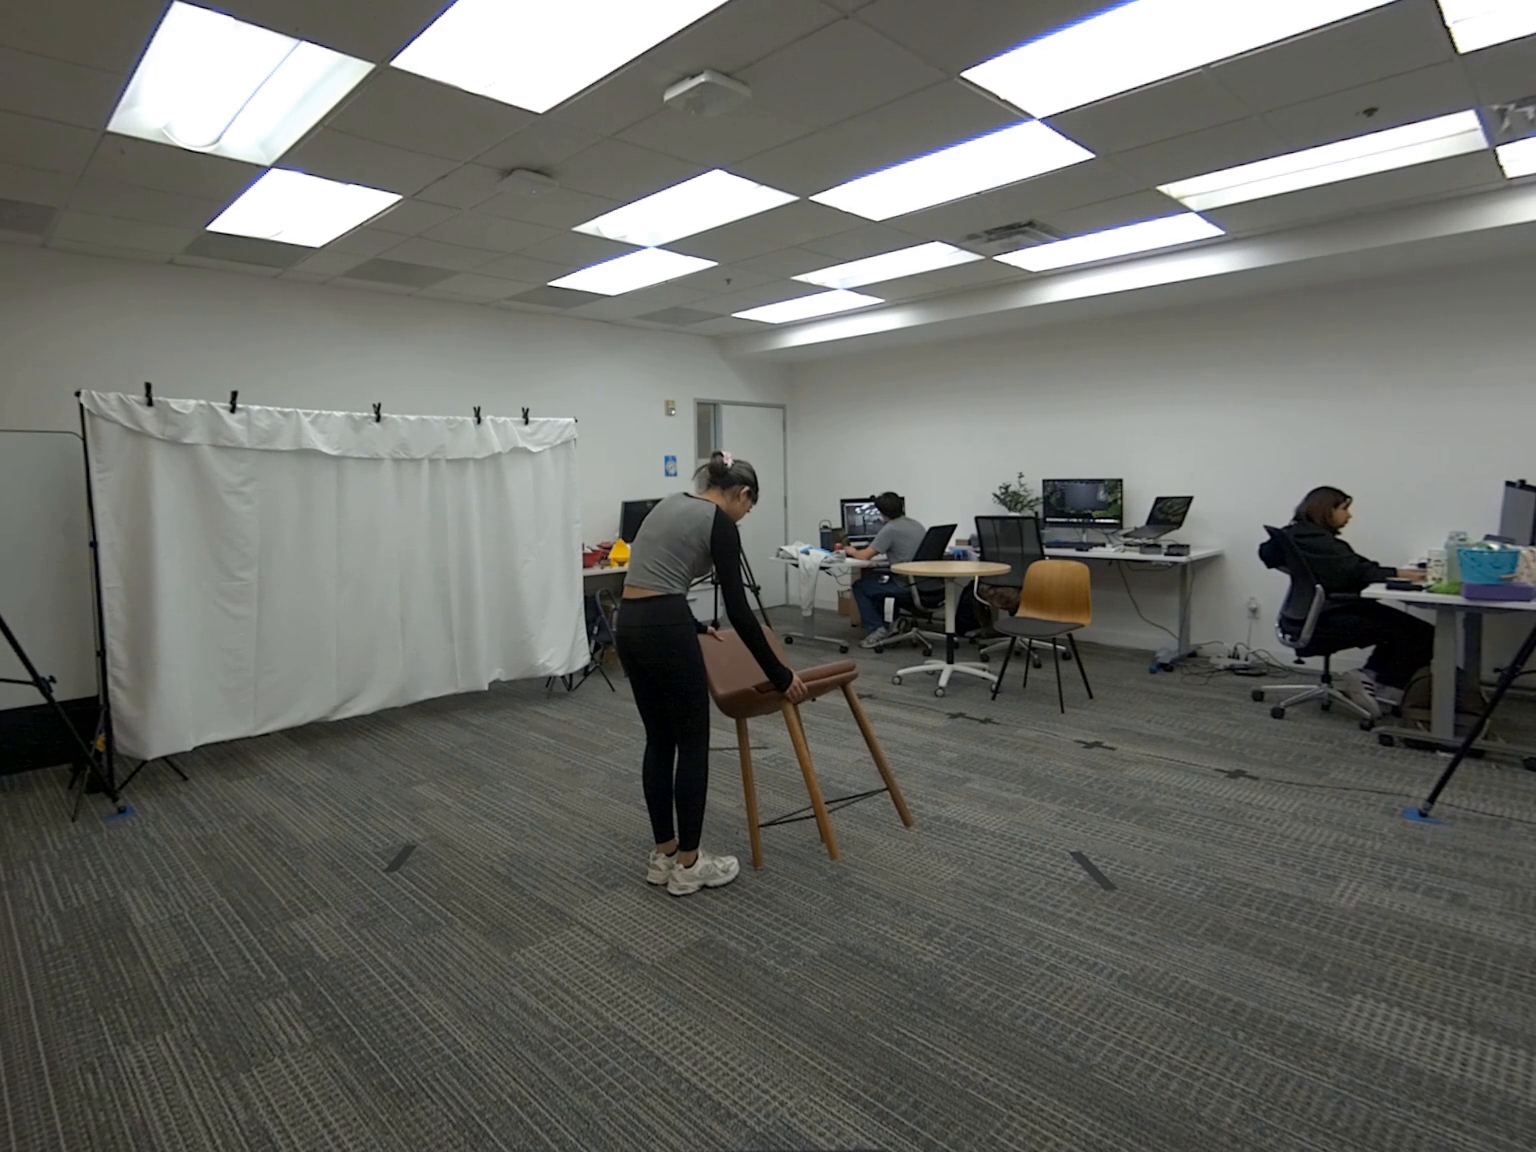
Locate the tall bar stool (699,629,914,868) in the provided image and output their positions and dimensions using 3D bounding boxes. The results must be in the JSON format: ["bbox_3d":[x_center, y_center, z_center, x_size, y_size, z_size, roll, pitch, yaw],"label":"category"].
[{"bbox_3d":[0.102,0.556,3.134,0.444,0.905,0.472,-4,-19,-41],"label":"tall bar stool"}]
